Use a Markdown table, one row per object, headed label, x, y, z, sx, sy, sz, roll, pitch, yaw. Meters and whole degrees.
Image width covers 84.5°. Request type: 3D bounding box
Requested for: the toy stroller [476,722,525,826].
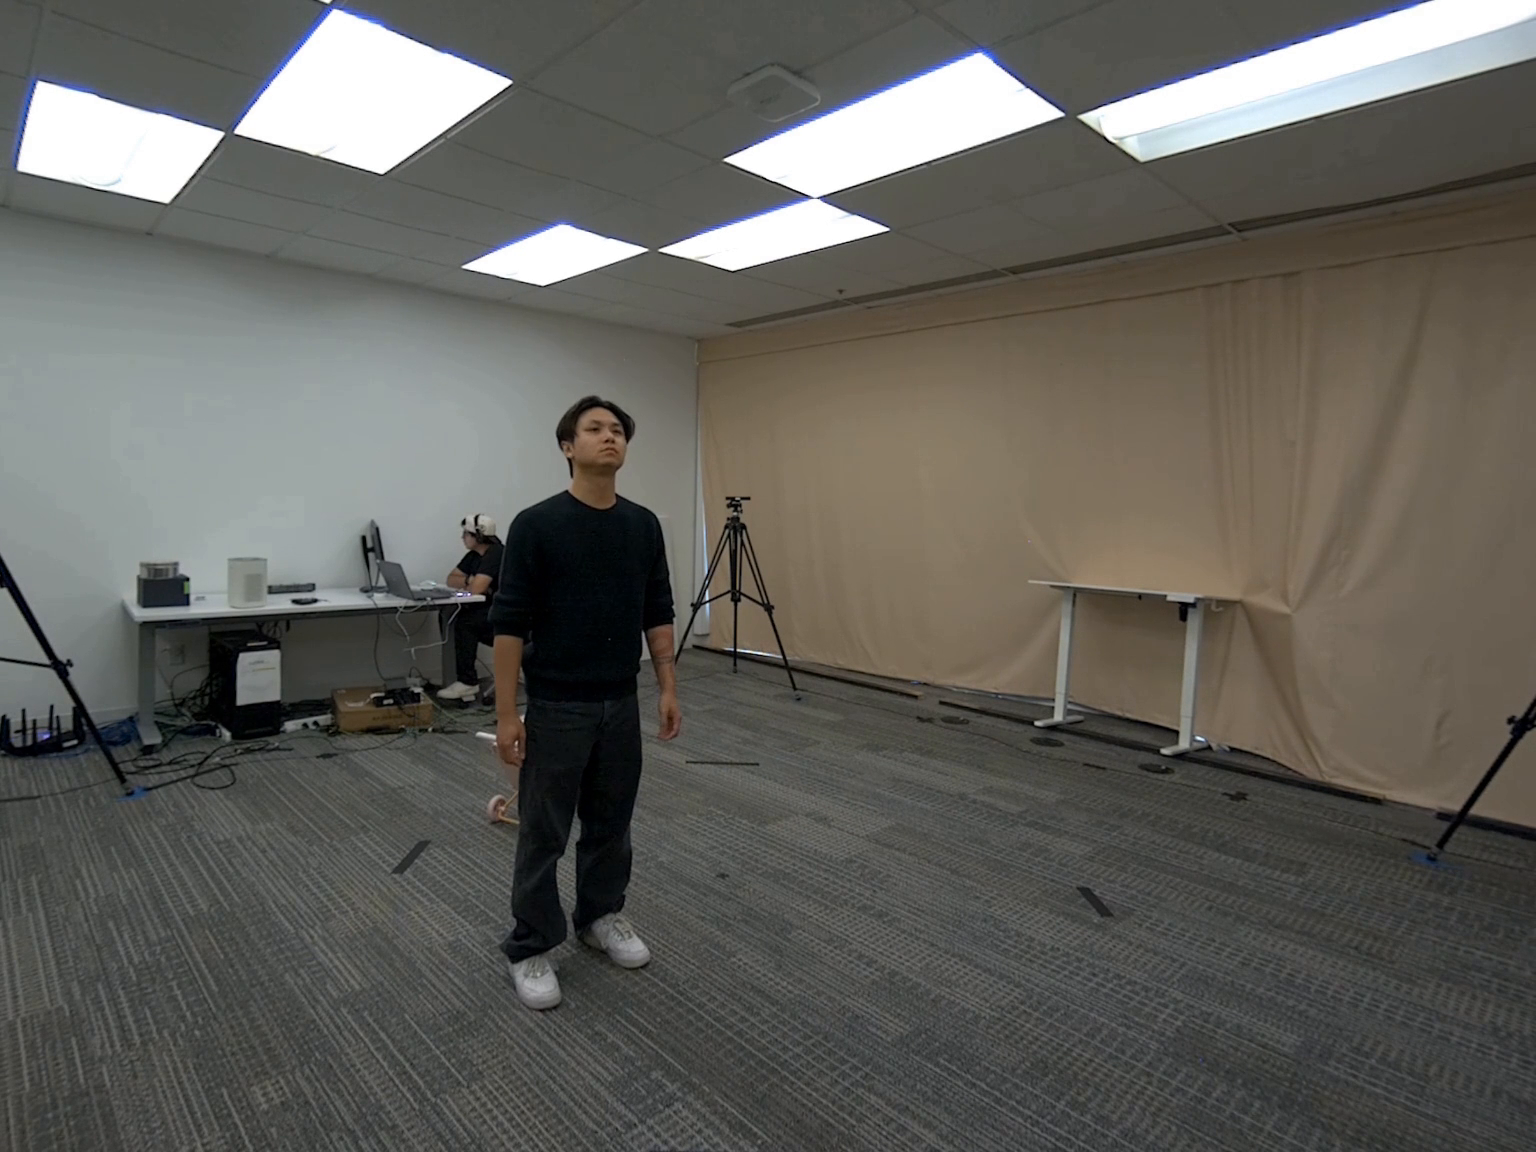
| label | x | y | z | sx | sy | sz | roll | pitch | yaw |
| --- | --- | --- | --- | --- | --- | --- | --- | --- | --- |
| toy stroller | -1.007 | 0.828 | 3.558 | 0.288 | 0.527 | 0.338 | 3 | 20 | 32 |
